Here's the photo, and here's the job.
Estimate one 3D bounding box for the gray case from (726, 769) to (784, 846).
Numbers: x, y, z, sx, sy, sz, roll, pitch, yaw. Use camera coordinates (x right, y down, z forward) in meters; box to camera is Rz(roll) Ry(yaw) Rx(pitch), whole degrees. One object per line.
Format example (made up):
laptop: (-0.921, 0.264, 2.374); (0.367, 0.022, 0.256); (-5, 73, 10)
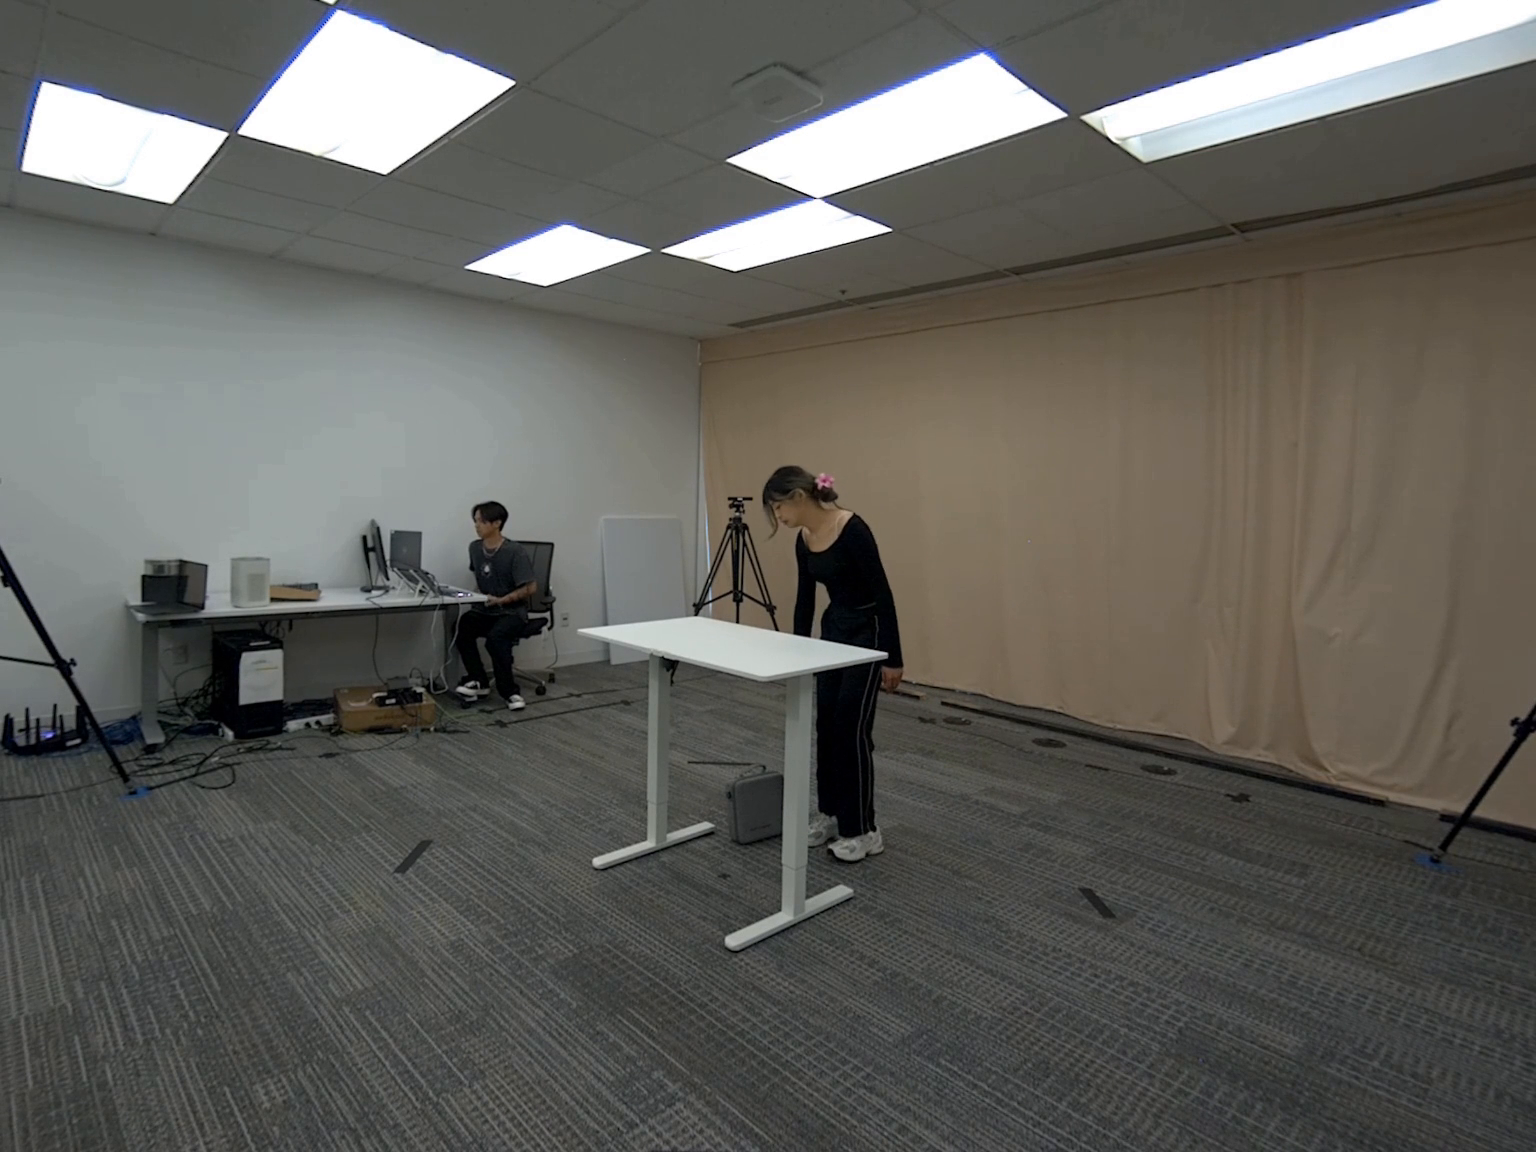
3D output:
gray case: (-0.051, 0.937, 3.476); (0.251, 0.262, 0.106); (-2, -6, -33)
